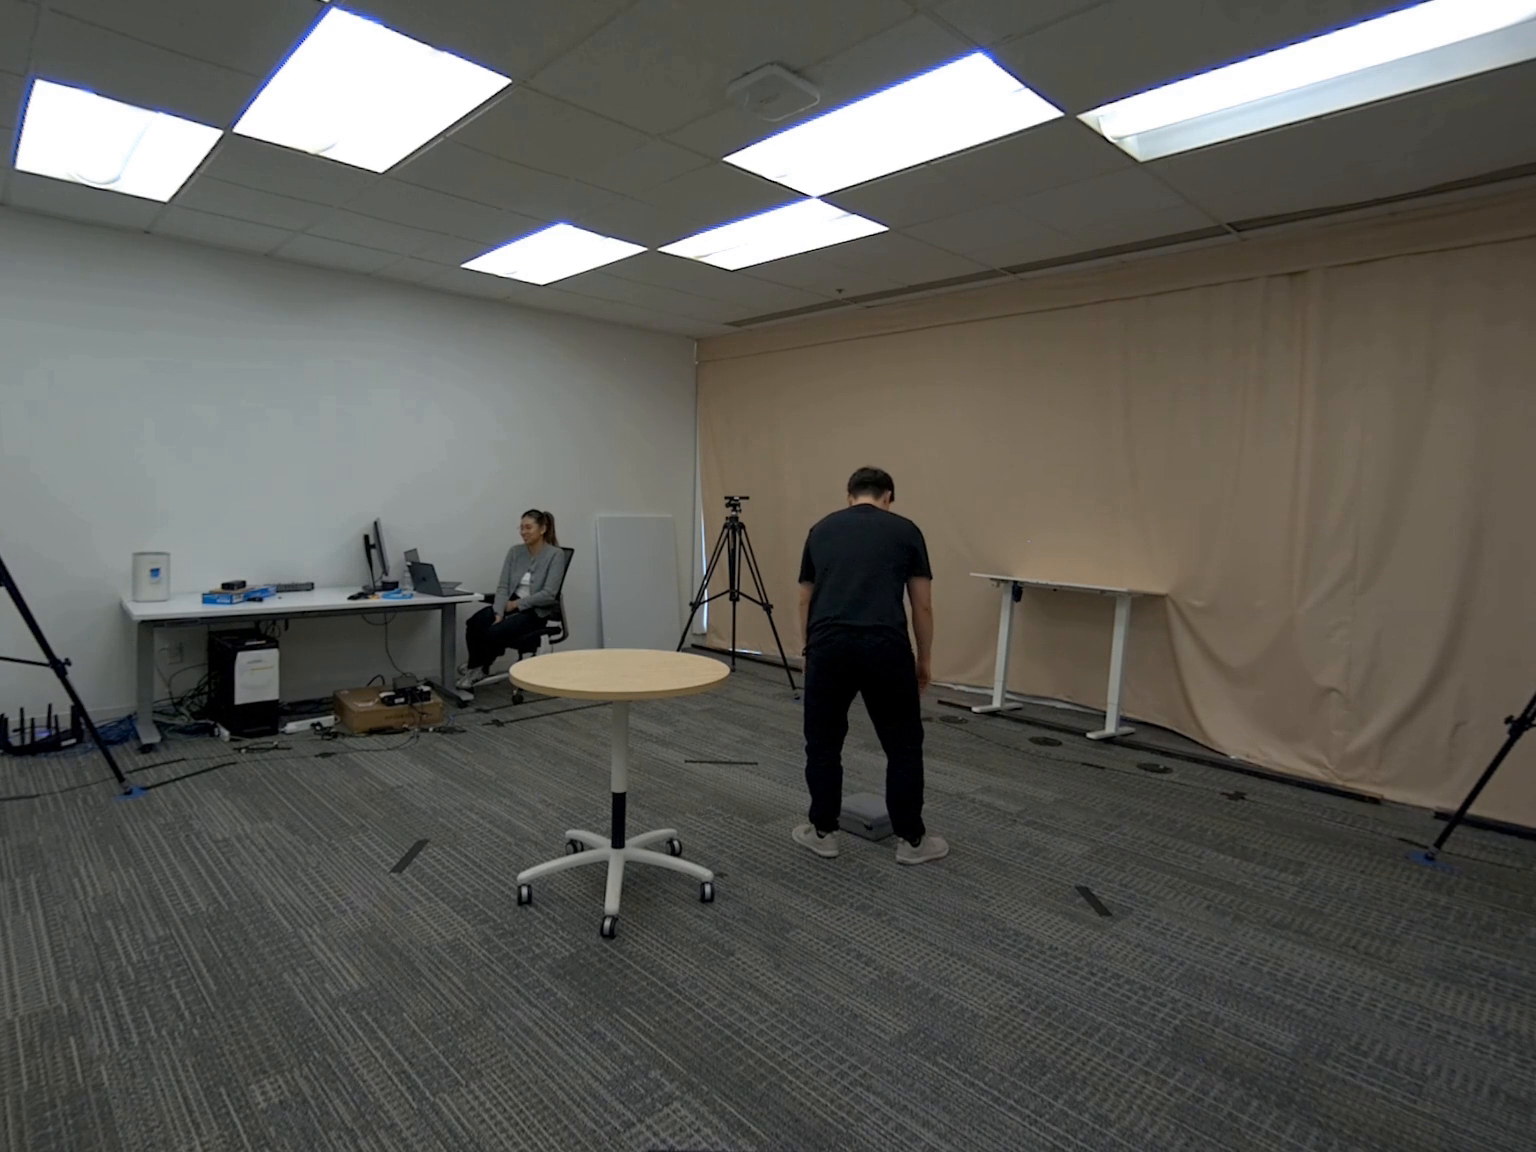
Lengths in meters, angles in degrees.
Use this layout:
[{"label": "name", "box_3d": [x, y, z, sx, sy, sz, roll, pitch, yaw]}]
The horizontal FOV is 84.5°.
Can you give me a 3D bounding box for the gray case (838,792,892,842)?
[{"label": "gray case", "box_3d": [0.425, 1.016, 3.607, 0.263, 0.104, 0.254, 4, 4, 44]}]
